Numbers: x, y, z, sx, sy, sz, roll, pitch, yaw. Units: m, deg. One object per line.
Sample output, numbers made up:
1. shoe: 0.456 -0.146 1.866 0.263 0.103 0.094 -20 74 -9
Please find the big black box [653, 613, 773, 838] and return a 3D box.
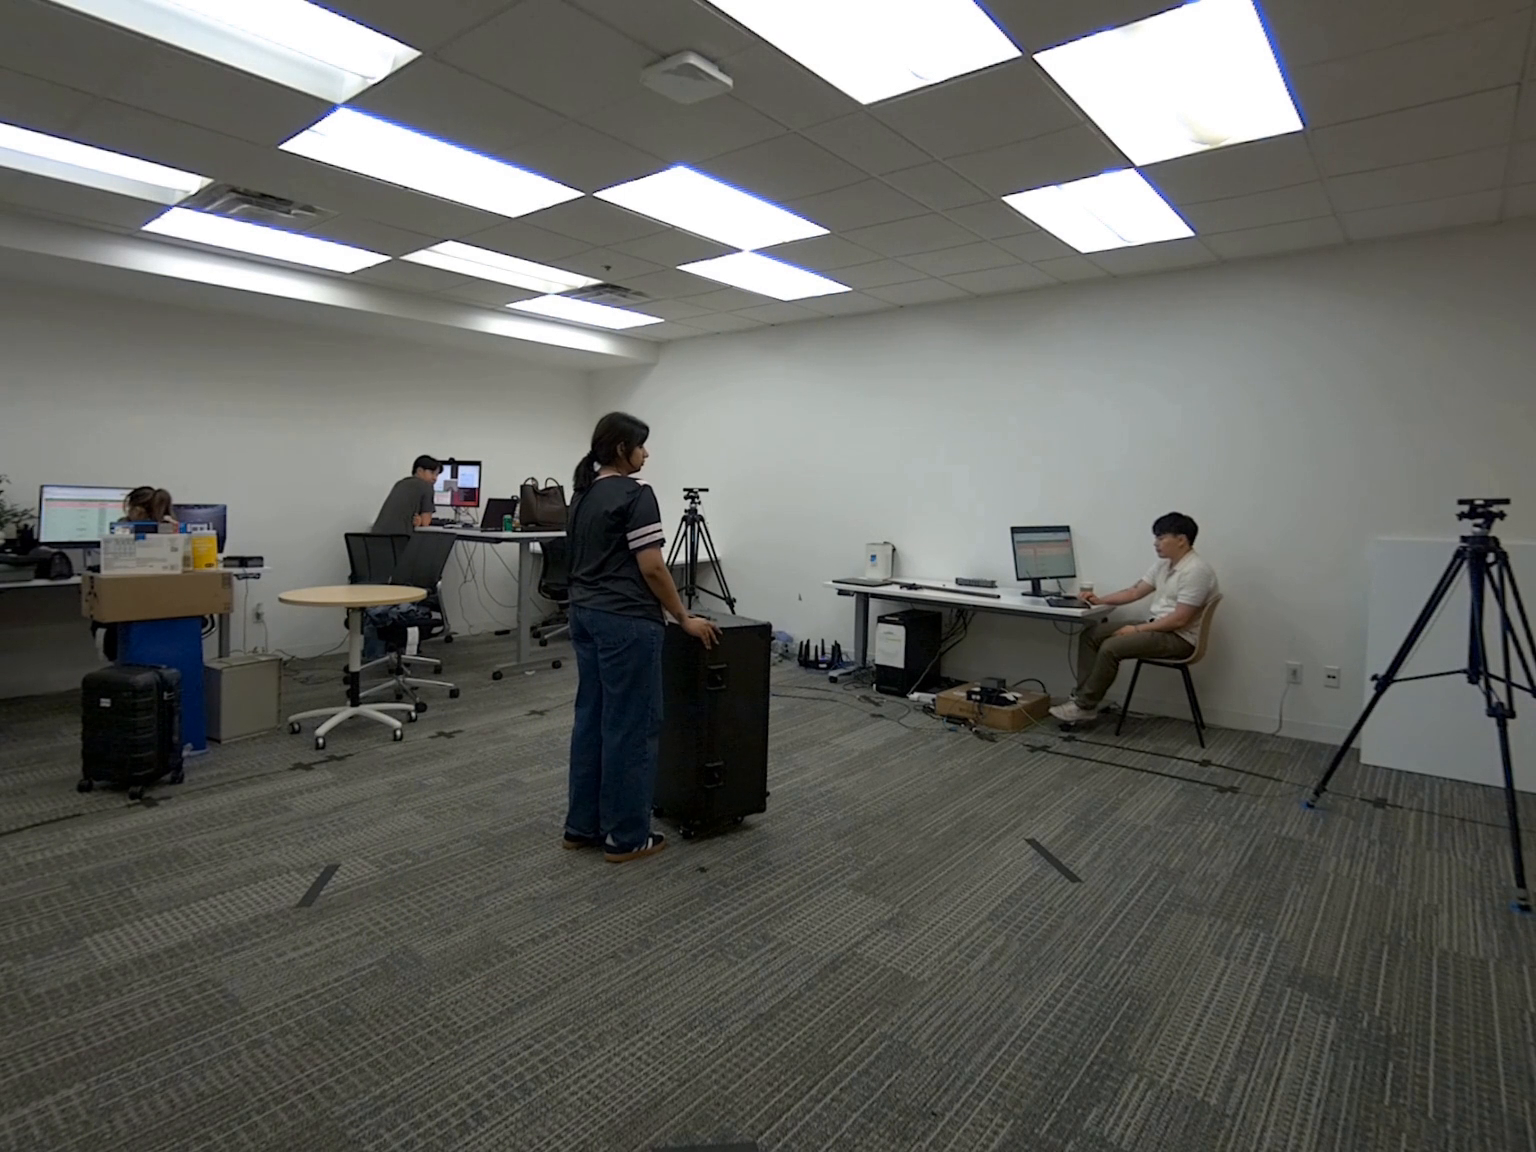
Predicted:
1. big black box: -0.288 0.598 3.590 0.374 0.866 0.541 0 4 -36
